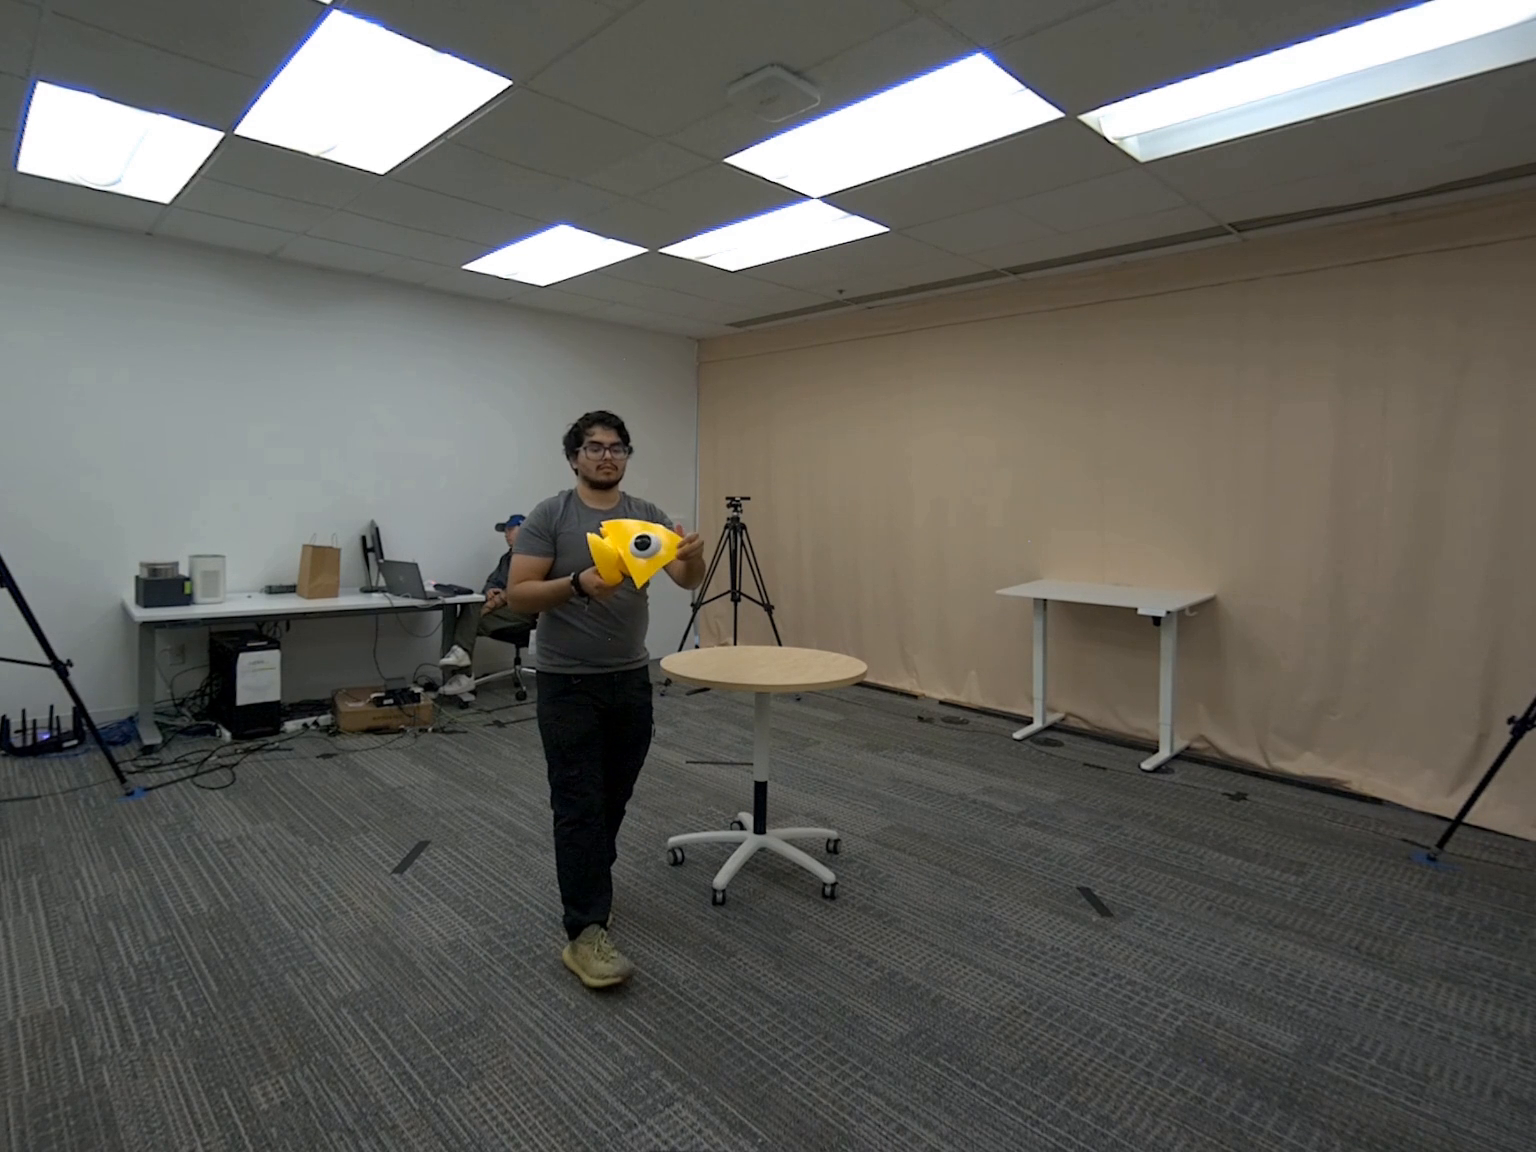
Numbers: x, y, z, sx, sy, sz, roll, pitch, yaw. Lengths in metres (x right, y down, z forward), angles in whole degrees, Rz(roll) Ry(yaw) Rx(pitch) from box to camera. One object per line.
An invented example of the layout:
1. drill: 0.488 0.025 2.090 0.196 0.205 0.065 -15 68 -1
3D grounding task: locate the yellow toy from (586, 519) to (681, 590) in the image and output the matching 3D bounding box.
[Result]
1. yellow toy: -0.351 -0.088 2.262 0.232 0.191 0.205 -21 11 13
